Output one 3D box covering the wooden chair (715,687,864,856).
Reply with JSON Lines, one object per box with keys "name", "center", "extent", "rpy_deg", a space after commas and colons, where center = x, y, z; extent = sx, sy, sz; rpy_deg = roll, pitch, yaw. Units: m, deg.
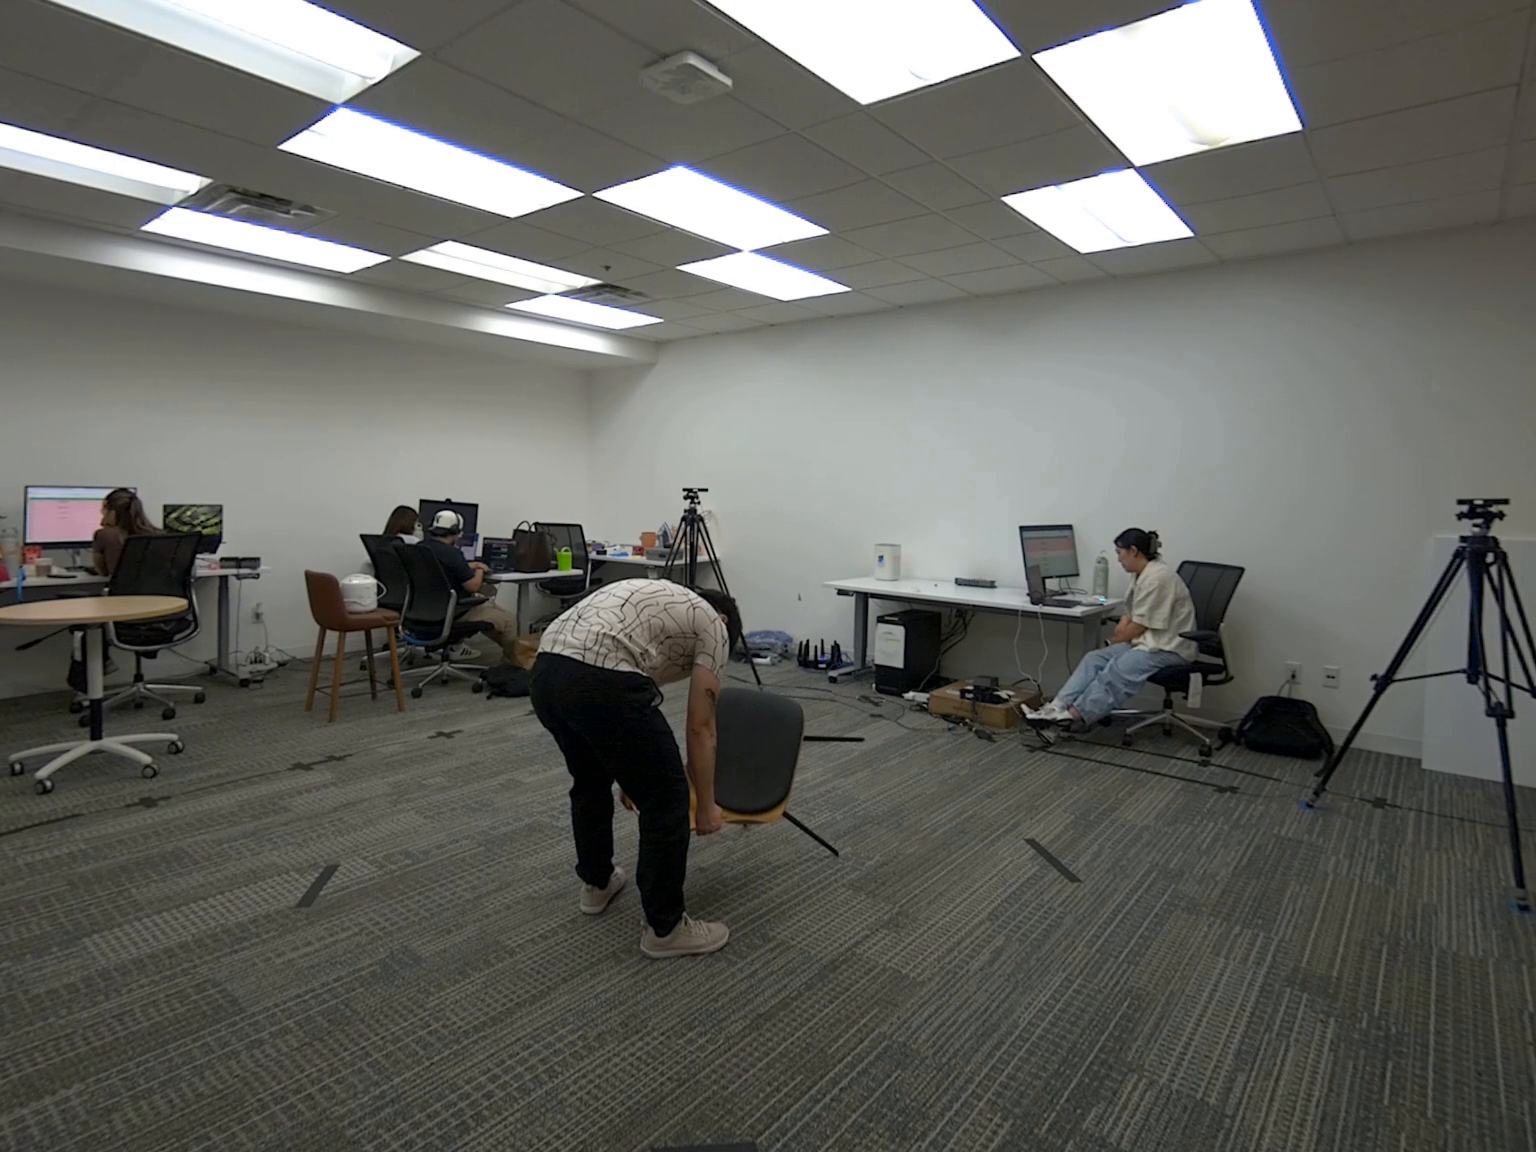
{"name": "wooden chair", "center": [-0.090, 0.681, 3.129], "extent": [0.494, 0.527, 0.842], "rpy_deg": [5, -14, 37]}
